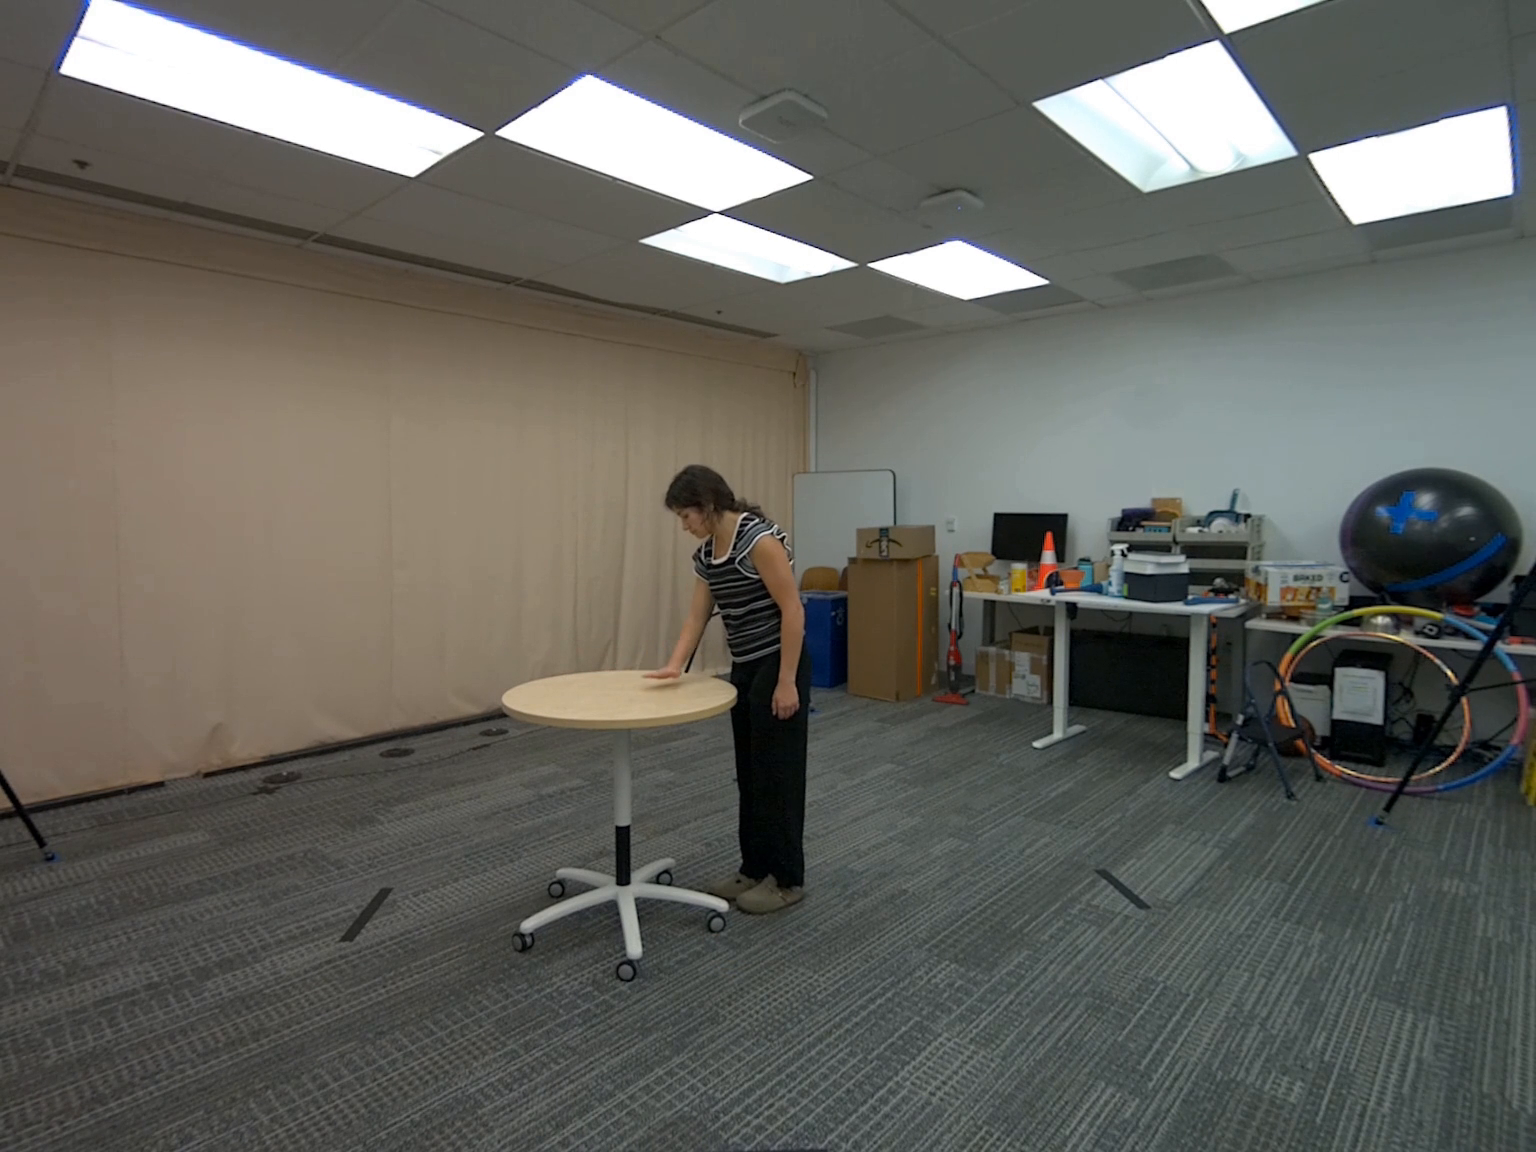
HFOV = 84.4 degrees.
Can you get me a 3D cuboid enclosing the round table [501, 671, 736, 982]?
[{"bbox_3d":[-0.483,0.776,2.784,0.763,0.792,0.766,0,3,-2],"label":"round table"}]
